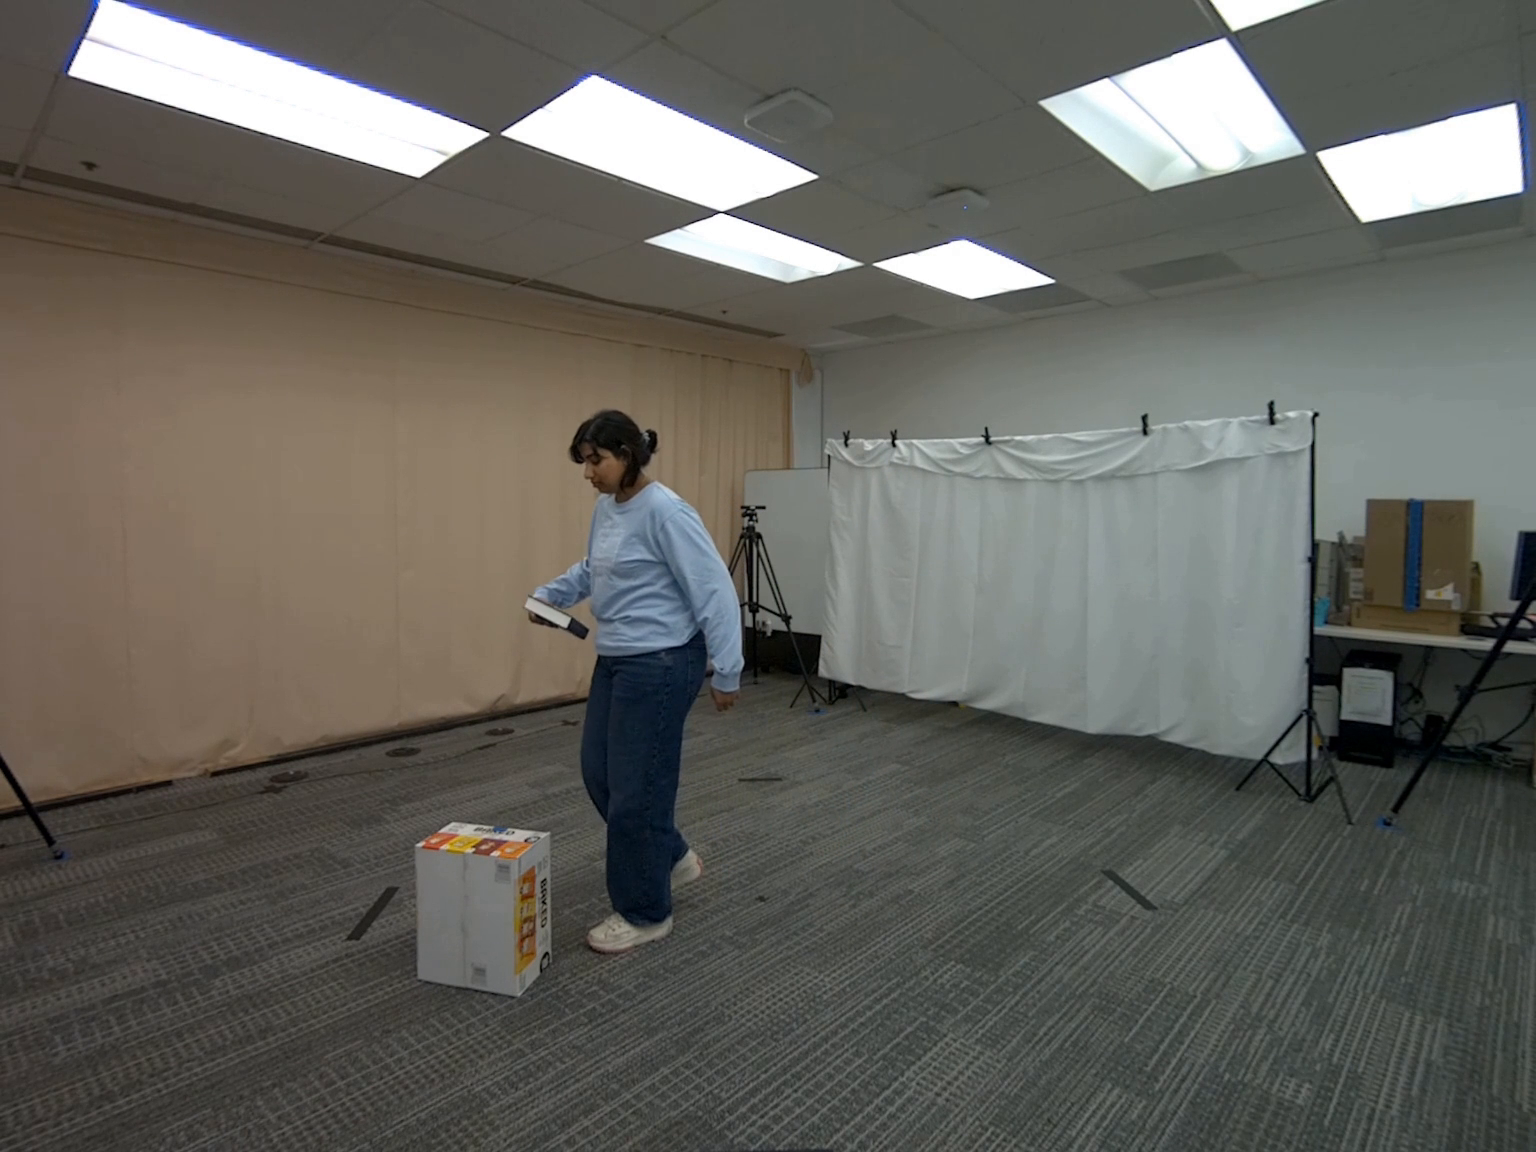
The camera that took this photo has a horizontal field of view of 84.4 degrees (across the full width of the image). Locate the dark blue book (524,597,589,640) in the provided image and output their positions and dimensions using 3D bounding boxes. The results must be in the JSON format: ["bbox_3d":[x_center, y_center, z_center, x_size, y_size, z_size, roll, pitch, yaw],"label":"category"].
[{"bbox_3d":[-0.680,0.141,2.733,0.165,0.045,0.242,25,-13,7],"label":"dark blue book"}]
